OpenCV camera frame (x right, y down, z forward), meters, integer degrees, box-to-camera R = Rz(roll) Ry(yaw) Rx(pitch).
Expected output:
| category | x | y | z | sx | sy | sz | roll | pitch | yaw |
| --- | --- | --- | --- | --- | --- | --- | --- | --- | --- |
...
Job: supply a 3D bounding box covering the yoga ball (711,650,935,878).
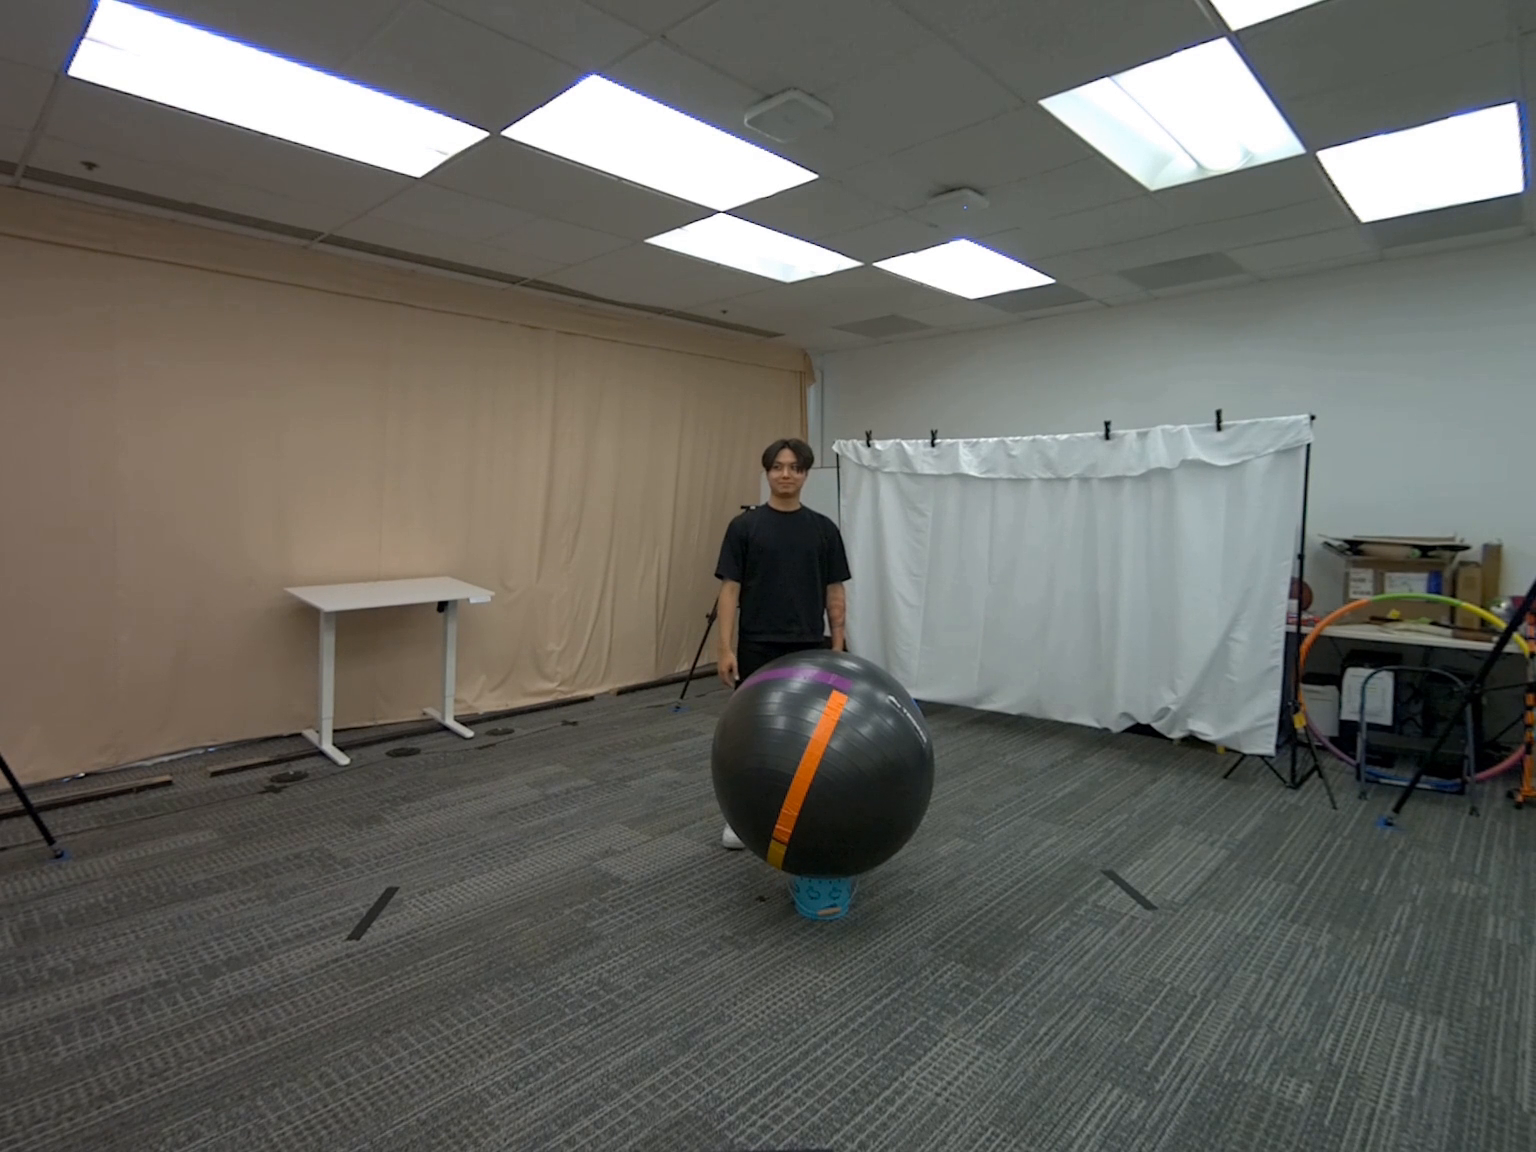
| category | x | y | z | sx | sy | sz | roll | pitch | yaw |
| --- | --- | --- | --- | --- | --- | --- | --- | --- | --- |
| yoga ball | 0.186 | 0.641 | 2.886 | 0.757 | 0.756 | 0.760 | 0 | 4 | -2 |
